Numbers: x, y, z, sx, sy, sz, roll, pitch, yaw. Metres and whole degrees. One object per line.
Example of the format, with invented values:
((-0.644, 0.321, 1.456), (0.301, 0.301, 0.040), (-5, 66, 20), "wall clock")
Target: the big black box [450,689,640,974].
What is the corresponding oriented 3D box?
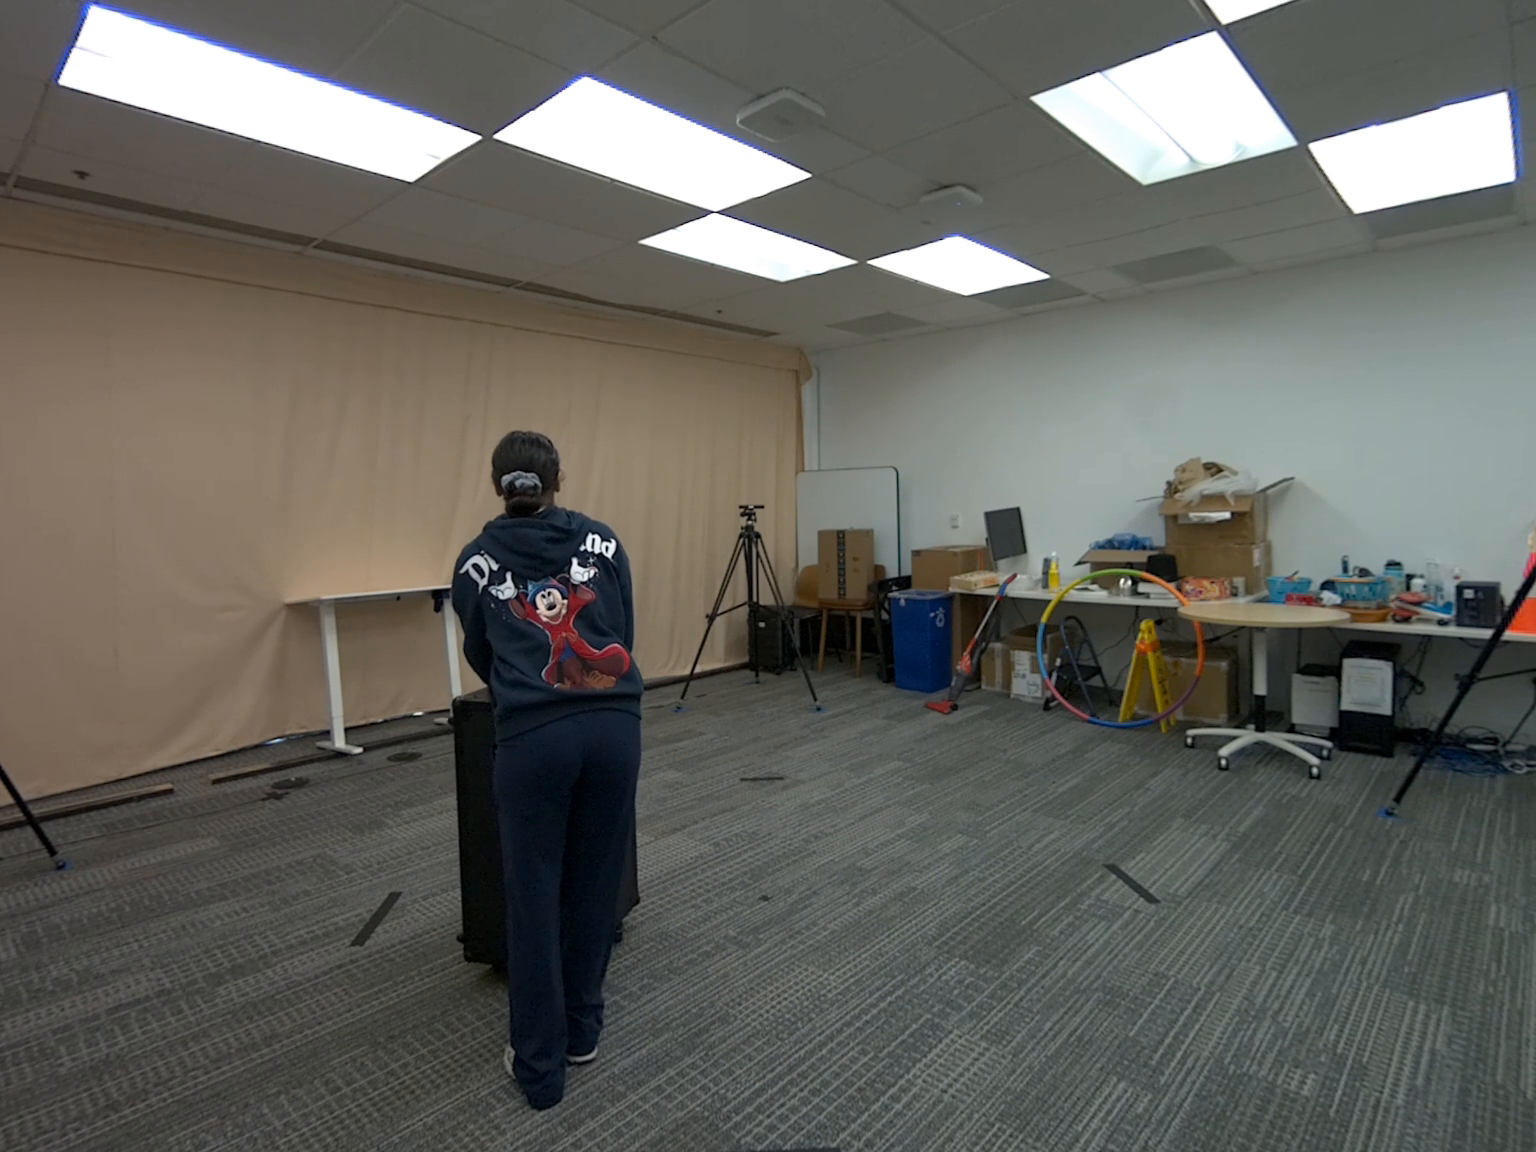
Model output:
((-0.689, 0.760, 2.626), (0.404, 0.860, 0.512), (-1, 3, 17), "big black box")
